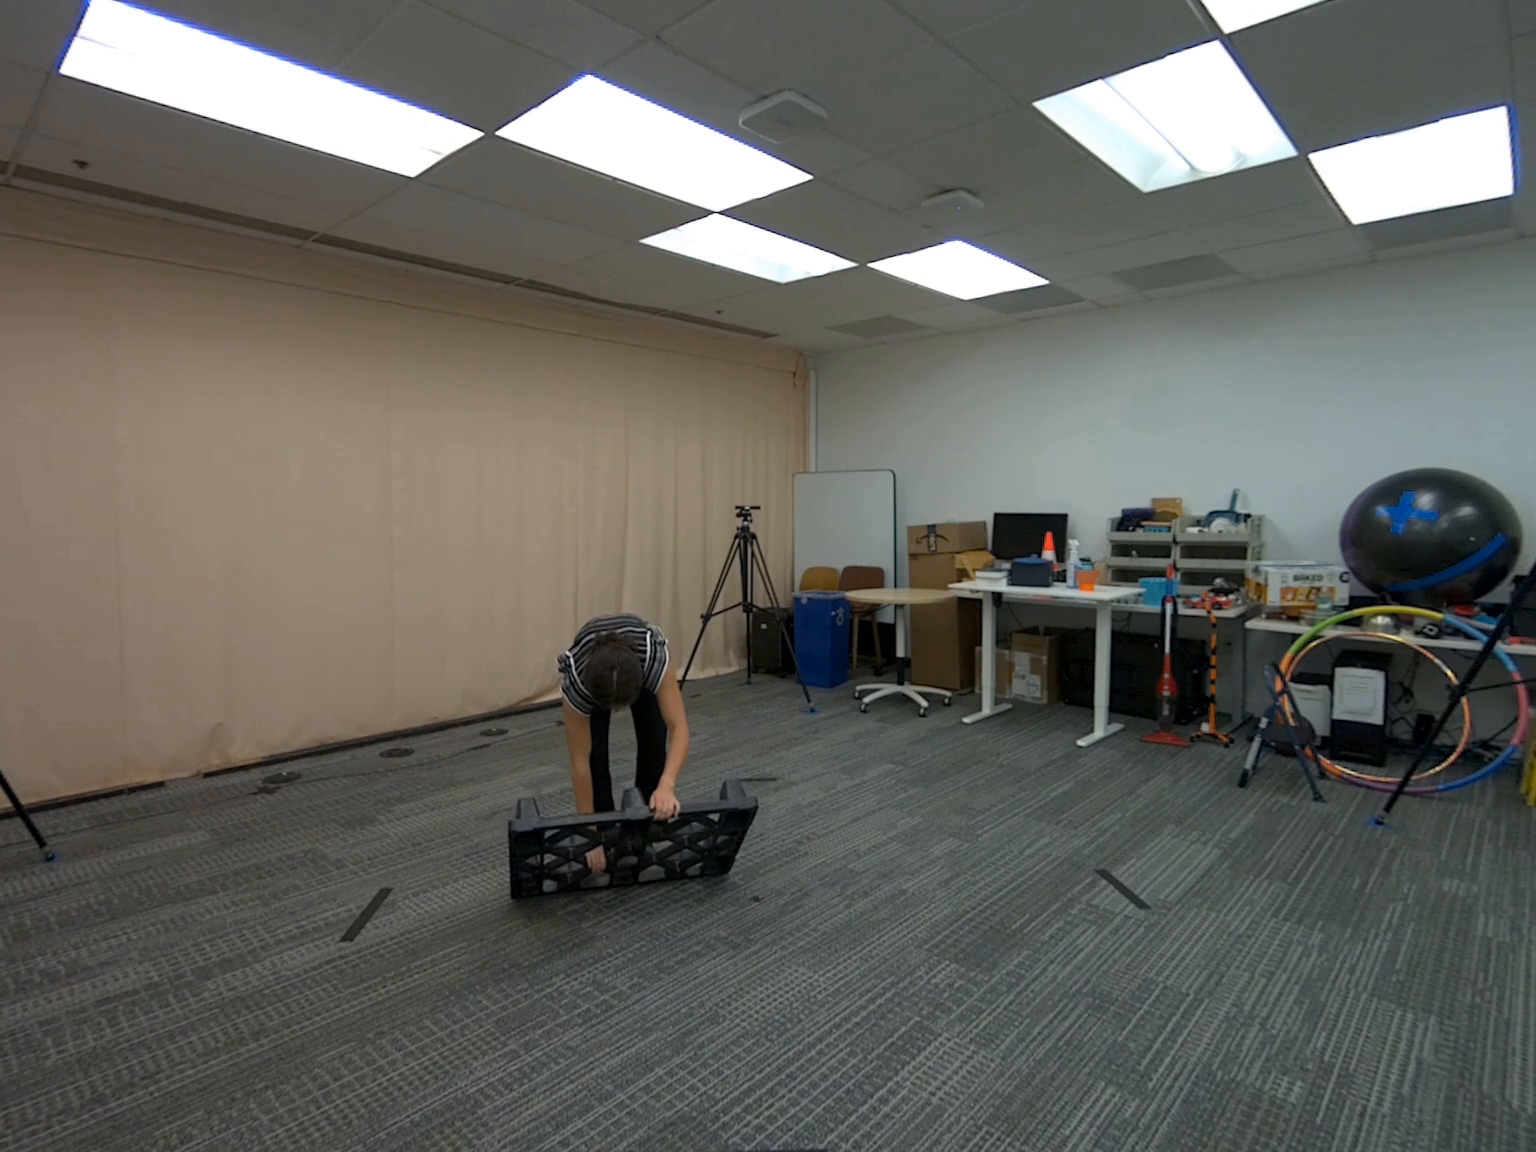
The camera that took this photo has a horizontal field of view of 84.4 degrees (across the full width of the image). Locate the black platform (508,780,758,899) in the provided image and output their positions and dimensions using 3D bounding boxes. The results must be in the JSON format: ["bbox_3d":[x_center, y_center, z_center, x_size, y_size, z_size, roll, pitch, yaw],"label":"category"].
[{"bbox_3d":[-0.482,0.900,2.897,0.793,0.147,0.599,-1,-40,-15],"label":"black platform"}]
